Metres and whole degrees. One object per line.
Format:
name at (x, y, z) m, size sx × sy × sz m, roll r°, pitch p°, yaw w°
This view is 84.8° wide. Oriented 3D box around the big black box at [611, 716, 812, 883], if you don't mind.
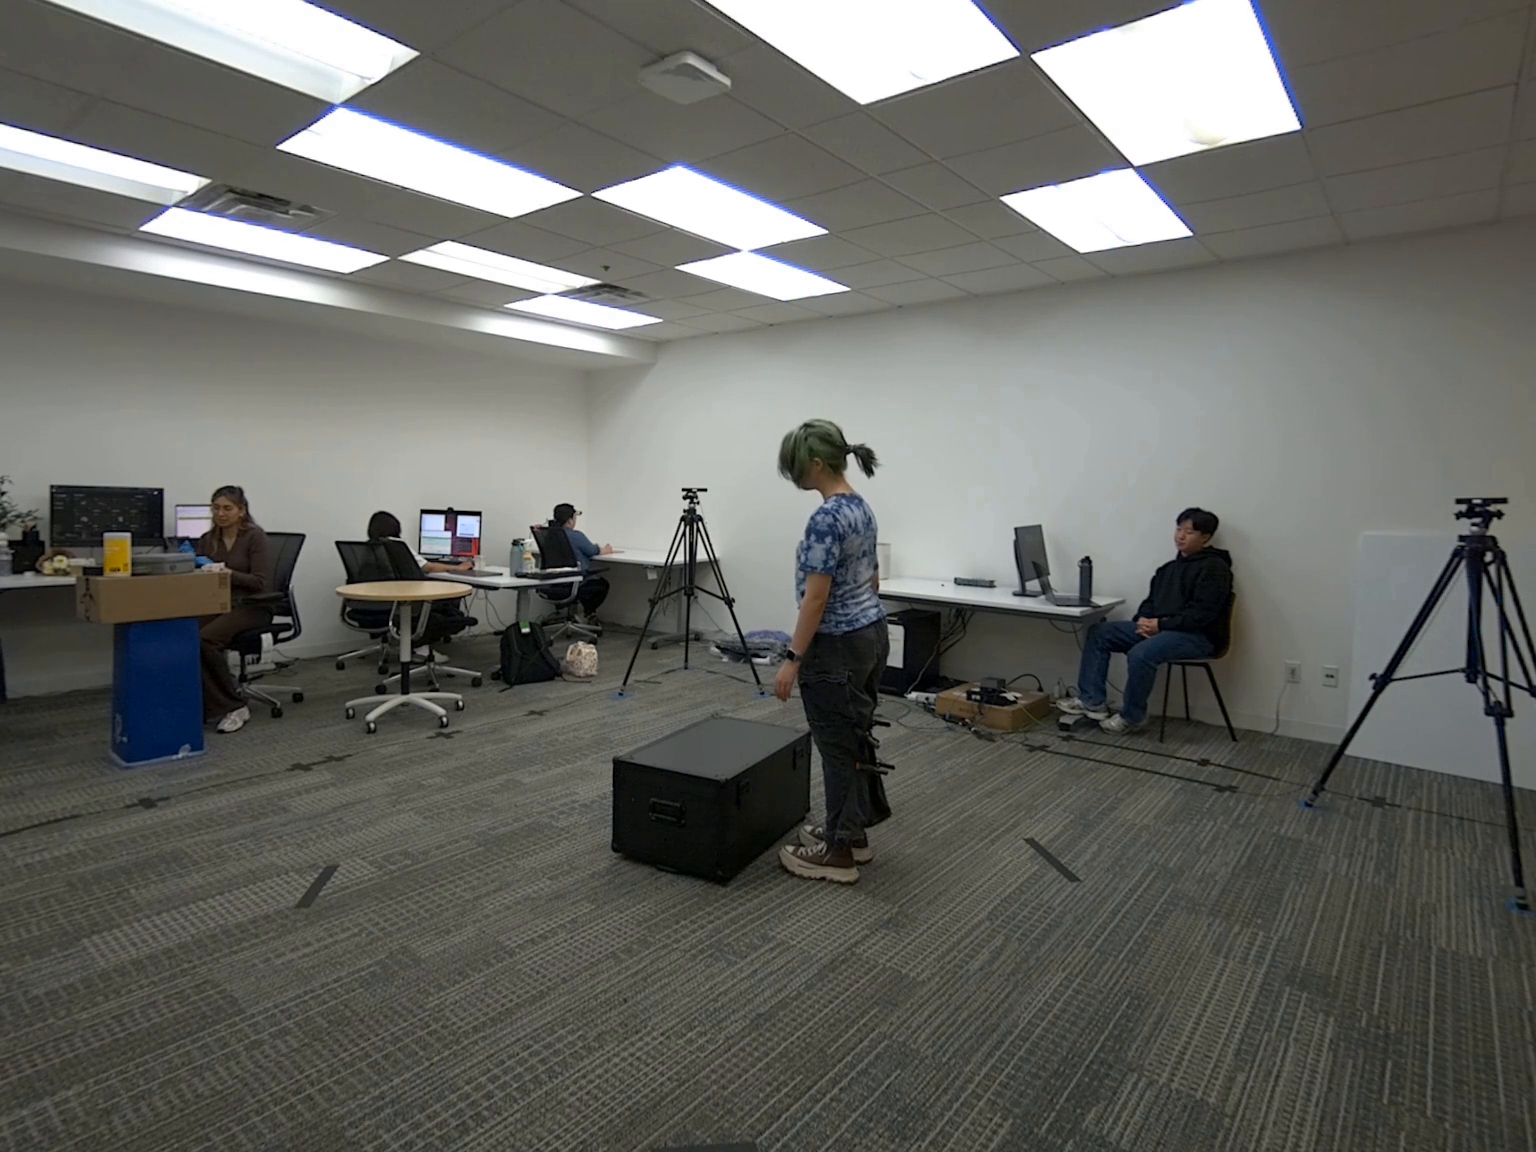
big black box at (-0.196, 0.849, 3.434) m, size 0.535 × 0.395 × 0.842 m, roll 3°, pitch 6°, yaw 26°
